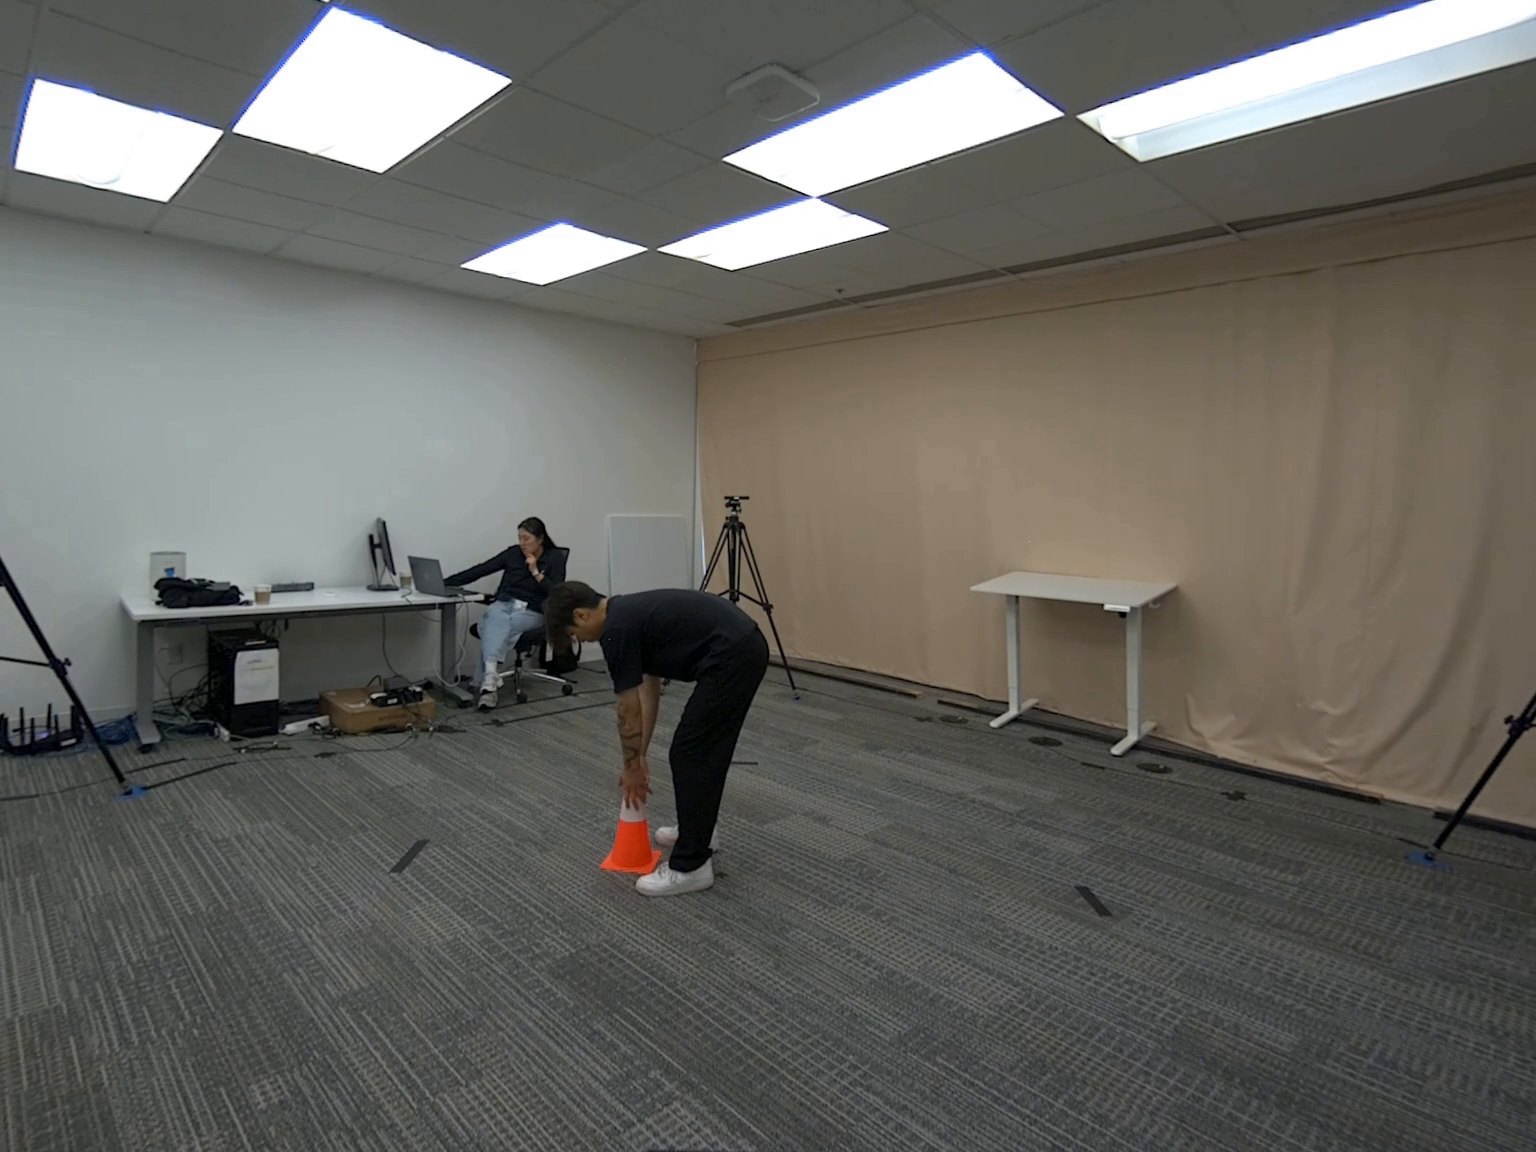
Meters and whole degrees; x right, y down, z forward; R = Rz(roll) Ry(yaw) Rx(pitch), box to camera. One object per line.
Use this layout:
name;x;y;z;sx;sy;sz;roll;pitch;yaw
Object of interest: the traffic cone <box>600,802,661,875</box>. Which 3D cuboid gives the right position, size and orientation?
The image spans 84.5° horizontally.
traffic cone;-0.522;0.904;3.213;0.204;0.383;0.204;3;3;4
